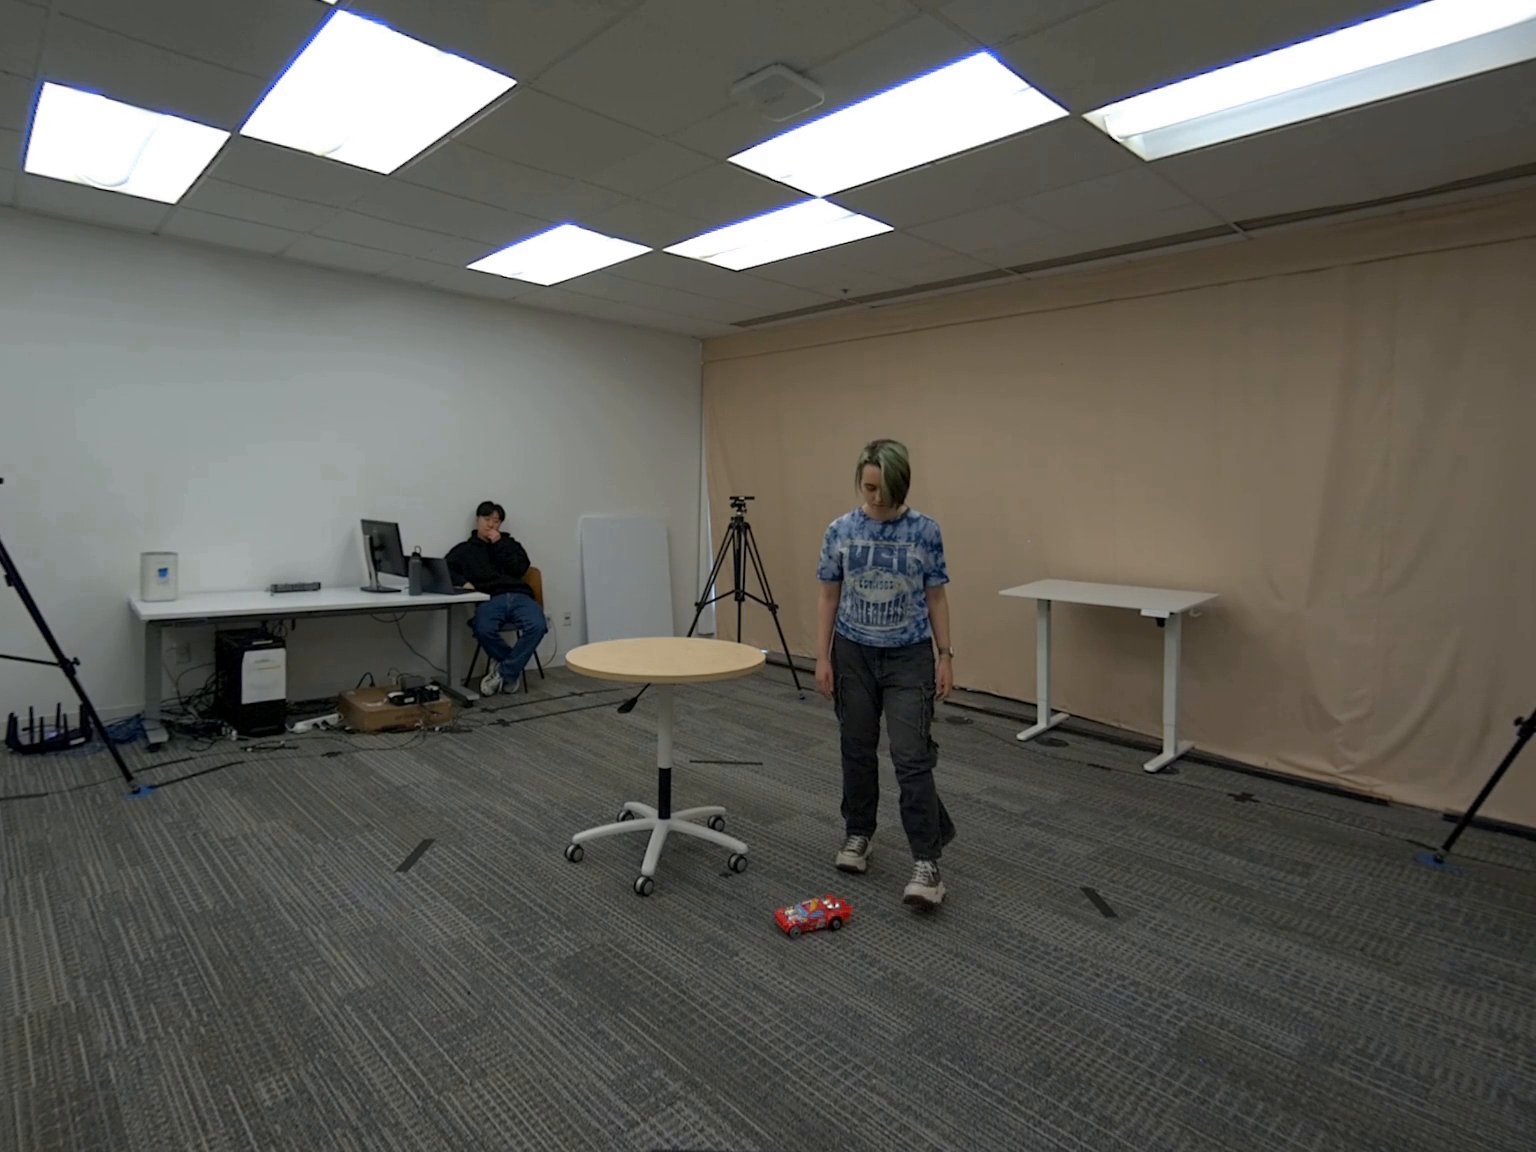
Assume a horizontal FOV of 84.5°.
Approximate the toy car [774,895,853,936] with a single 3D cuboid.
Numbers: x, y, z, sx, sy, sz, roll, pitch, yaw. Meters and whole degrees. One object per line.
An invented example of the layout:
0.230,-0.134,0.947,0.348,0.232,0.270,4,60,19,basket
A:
0.149,1.110,2.746,0.251,0.082,0.133,-13,11,-21,toy car
